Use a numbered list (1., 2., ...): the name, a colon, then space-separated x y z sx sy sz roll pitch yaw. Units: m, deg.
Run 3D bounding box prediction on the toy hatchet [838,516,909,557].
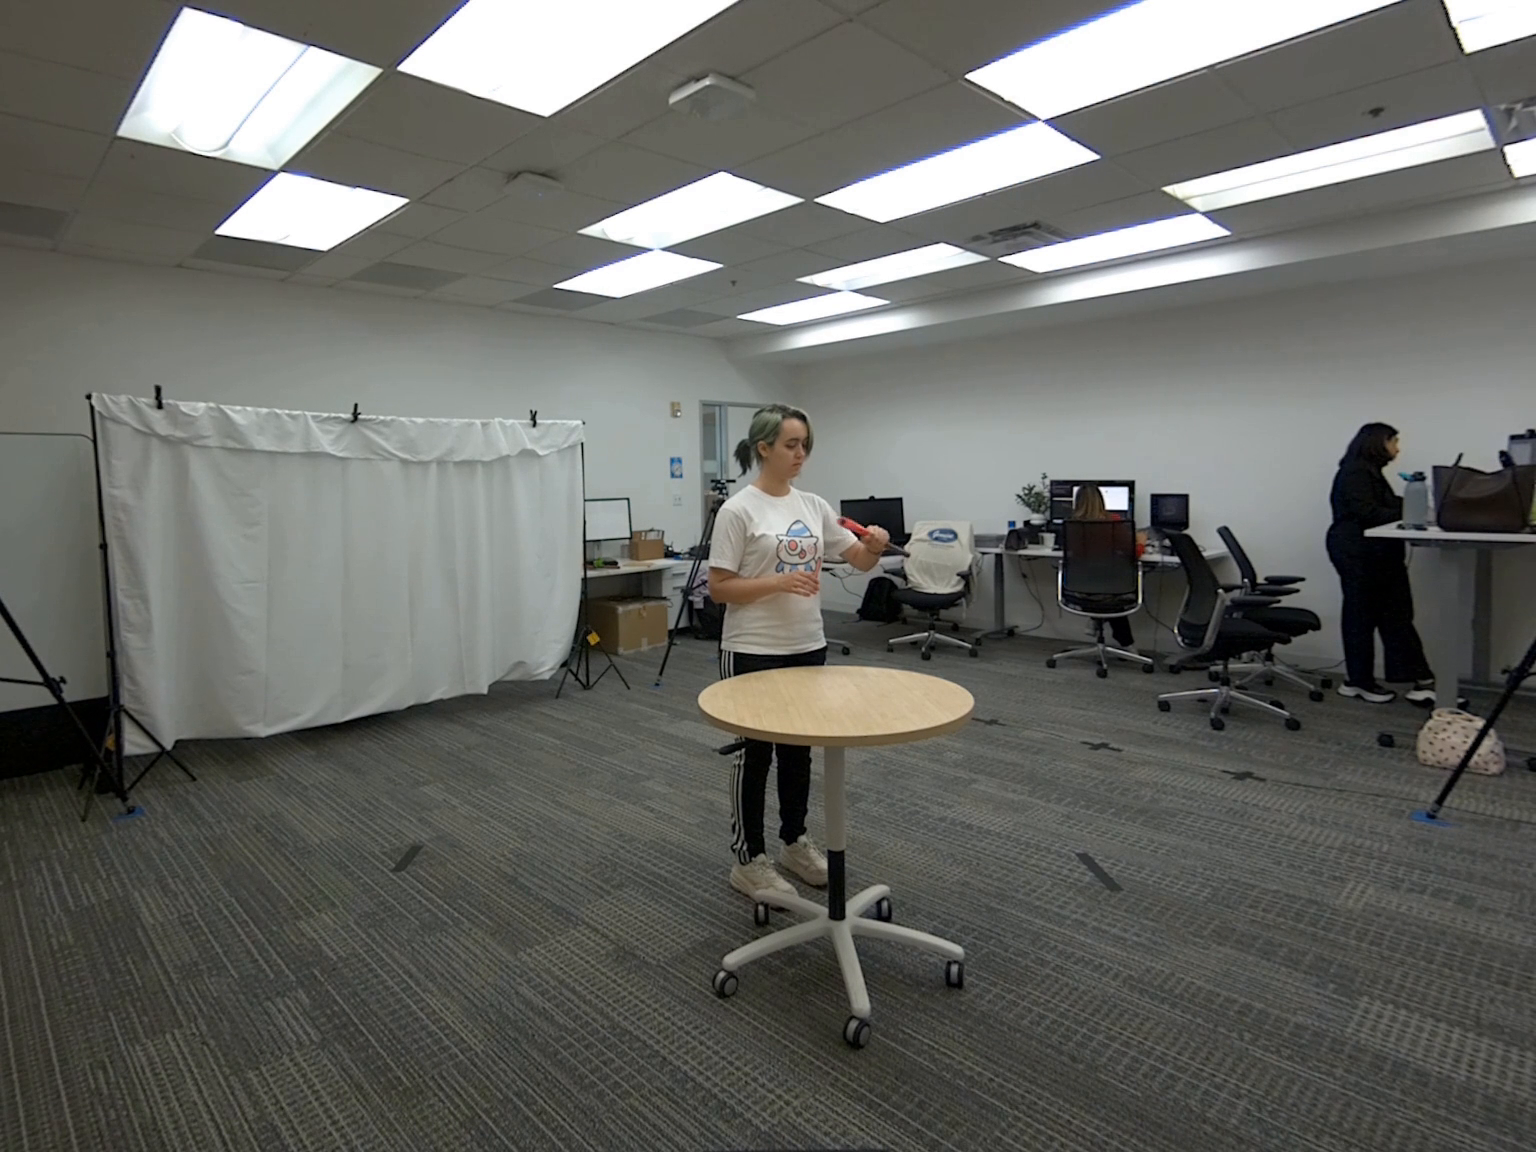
1. toy hatchet: 0.350 -0.120 2.682 0.268 0.029 0.132 24 2 -7
